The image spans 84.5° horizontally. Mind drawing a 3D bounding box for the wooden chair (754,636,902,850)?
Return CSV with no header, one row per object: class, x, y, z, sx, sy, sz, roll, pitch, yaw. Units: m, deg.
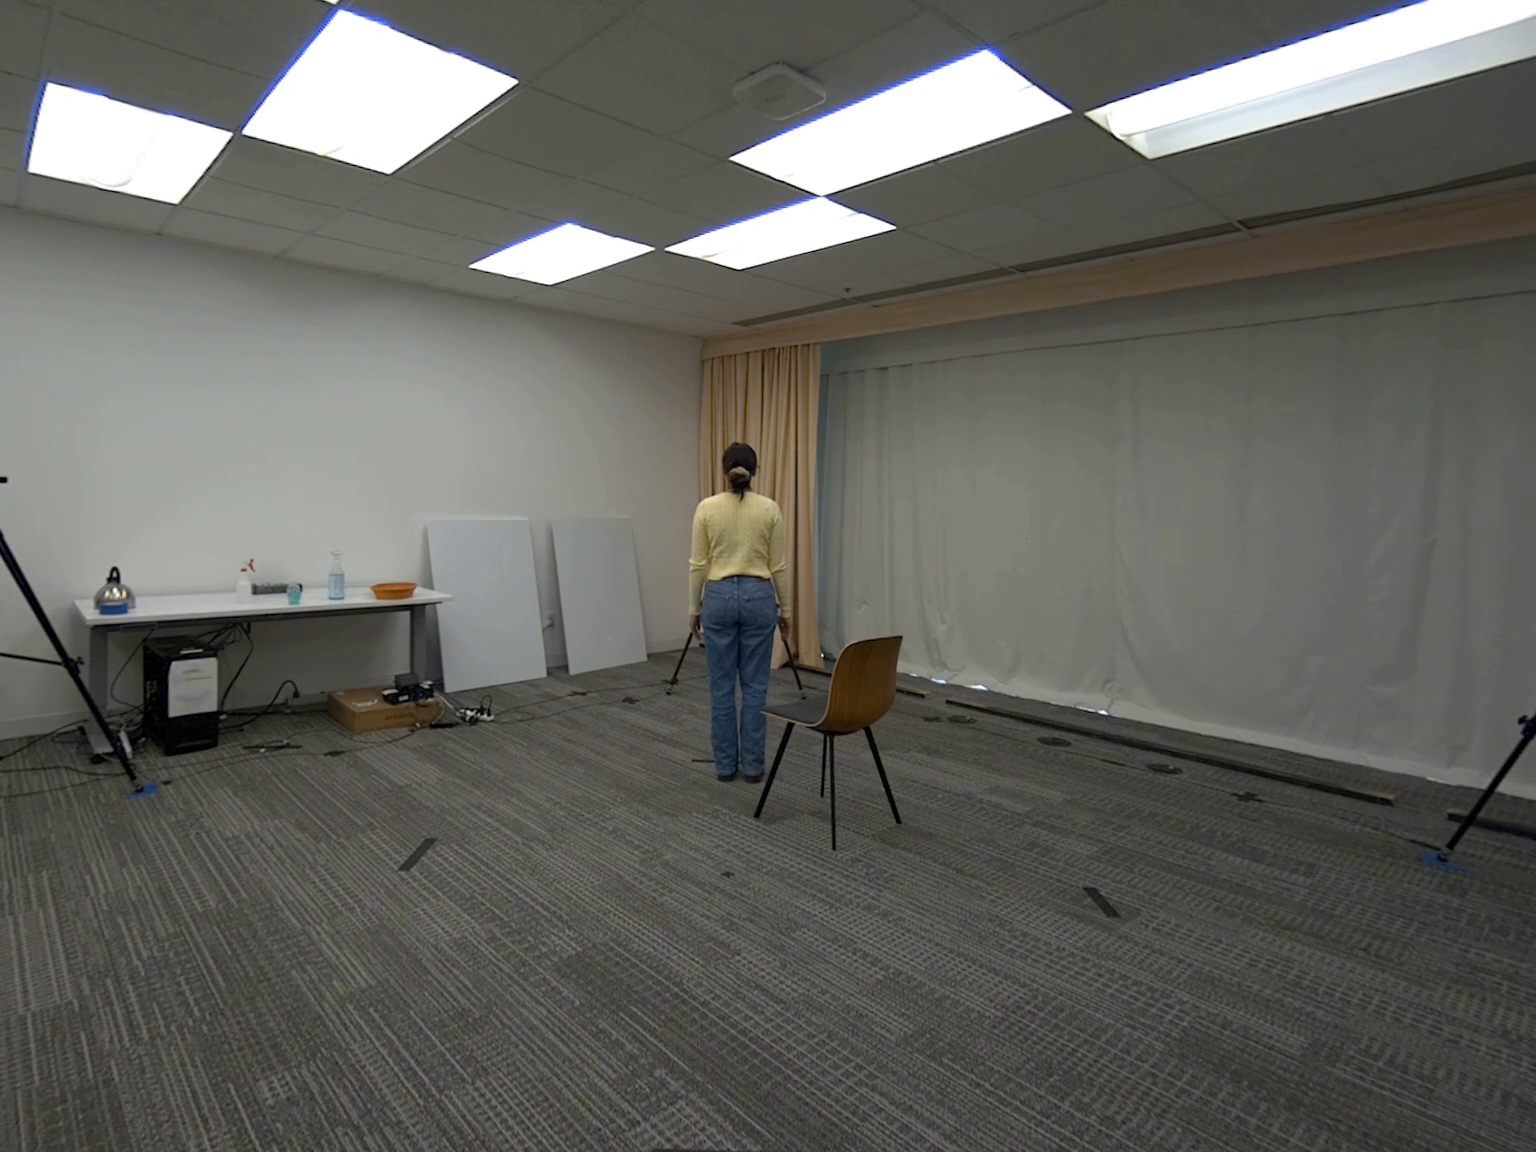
wooden chair,0.259,0.637,3.628,0.467,0.874,0.537,-2,9,-45
